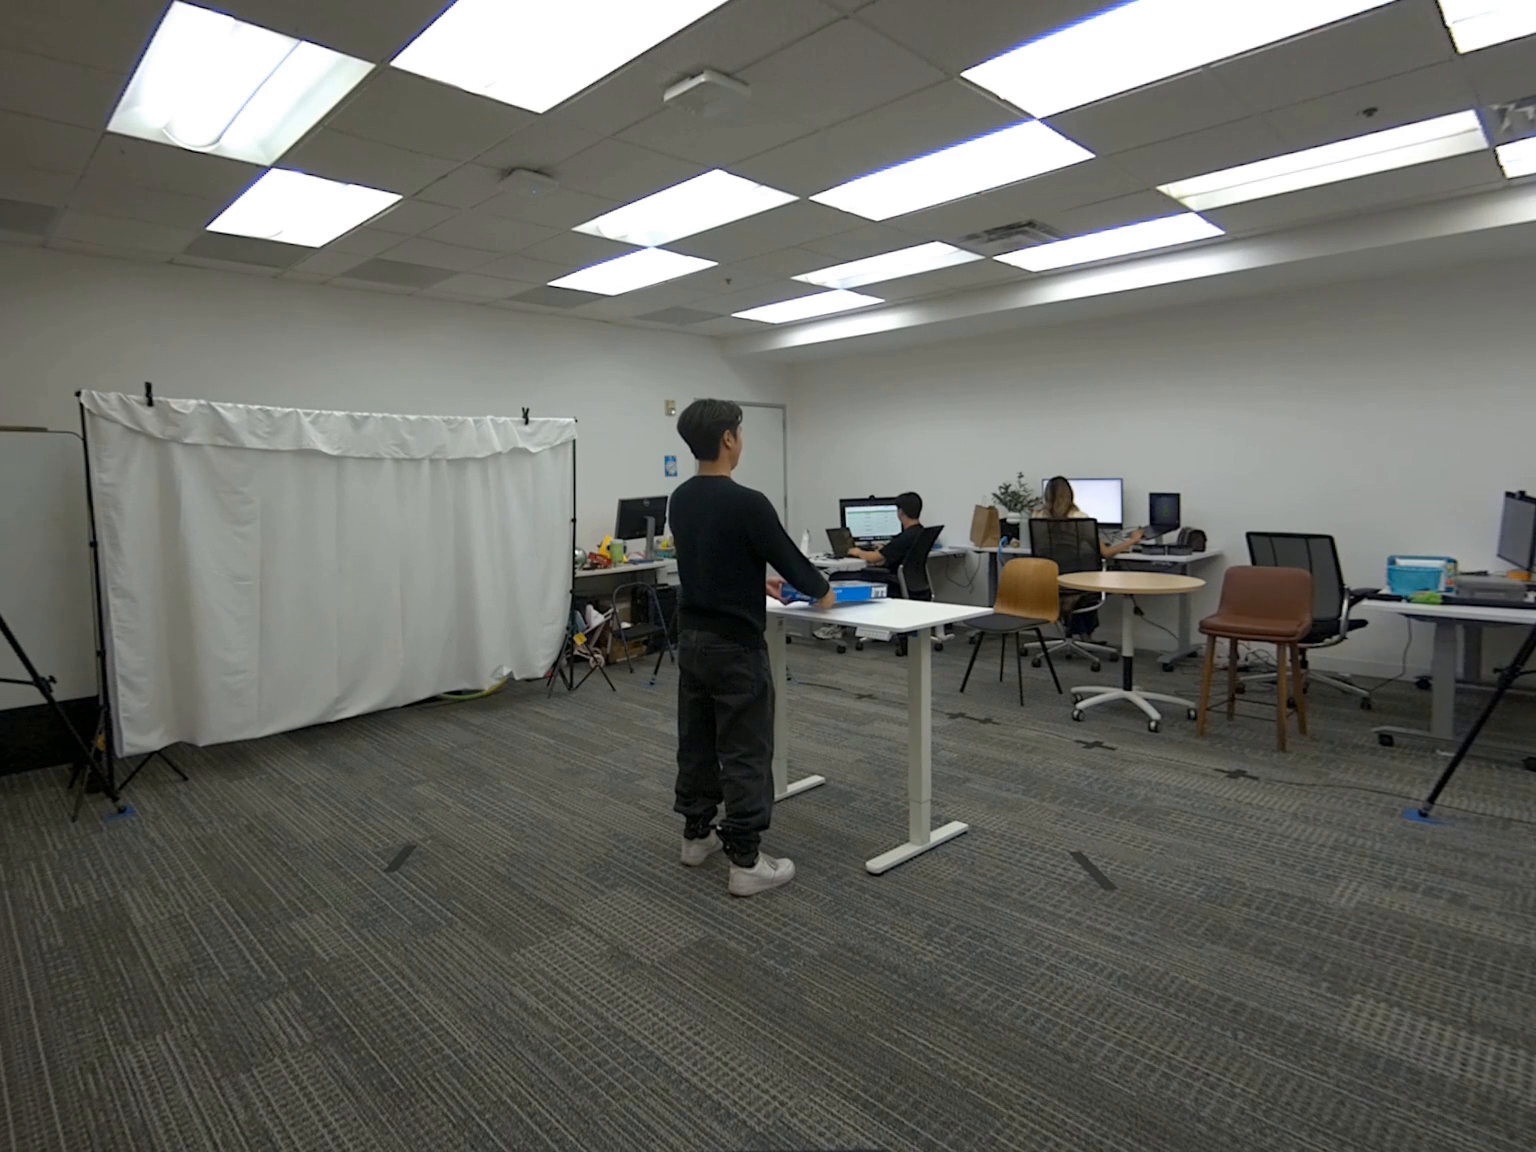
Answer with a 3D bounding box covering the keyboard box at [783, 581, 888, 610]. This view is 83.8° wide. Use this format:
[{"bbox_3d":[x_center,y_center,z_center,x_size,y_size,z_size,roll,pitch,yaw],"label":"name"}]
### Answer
[{"bbox_3d":[0.272,0.064,3.415,0.425,0.059,0.181,-3,6,-39],"label":"keyboard box"}]
